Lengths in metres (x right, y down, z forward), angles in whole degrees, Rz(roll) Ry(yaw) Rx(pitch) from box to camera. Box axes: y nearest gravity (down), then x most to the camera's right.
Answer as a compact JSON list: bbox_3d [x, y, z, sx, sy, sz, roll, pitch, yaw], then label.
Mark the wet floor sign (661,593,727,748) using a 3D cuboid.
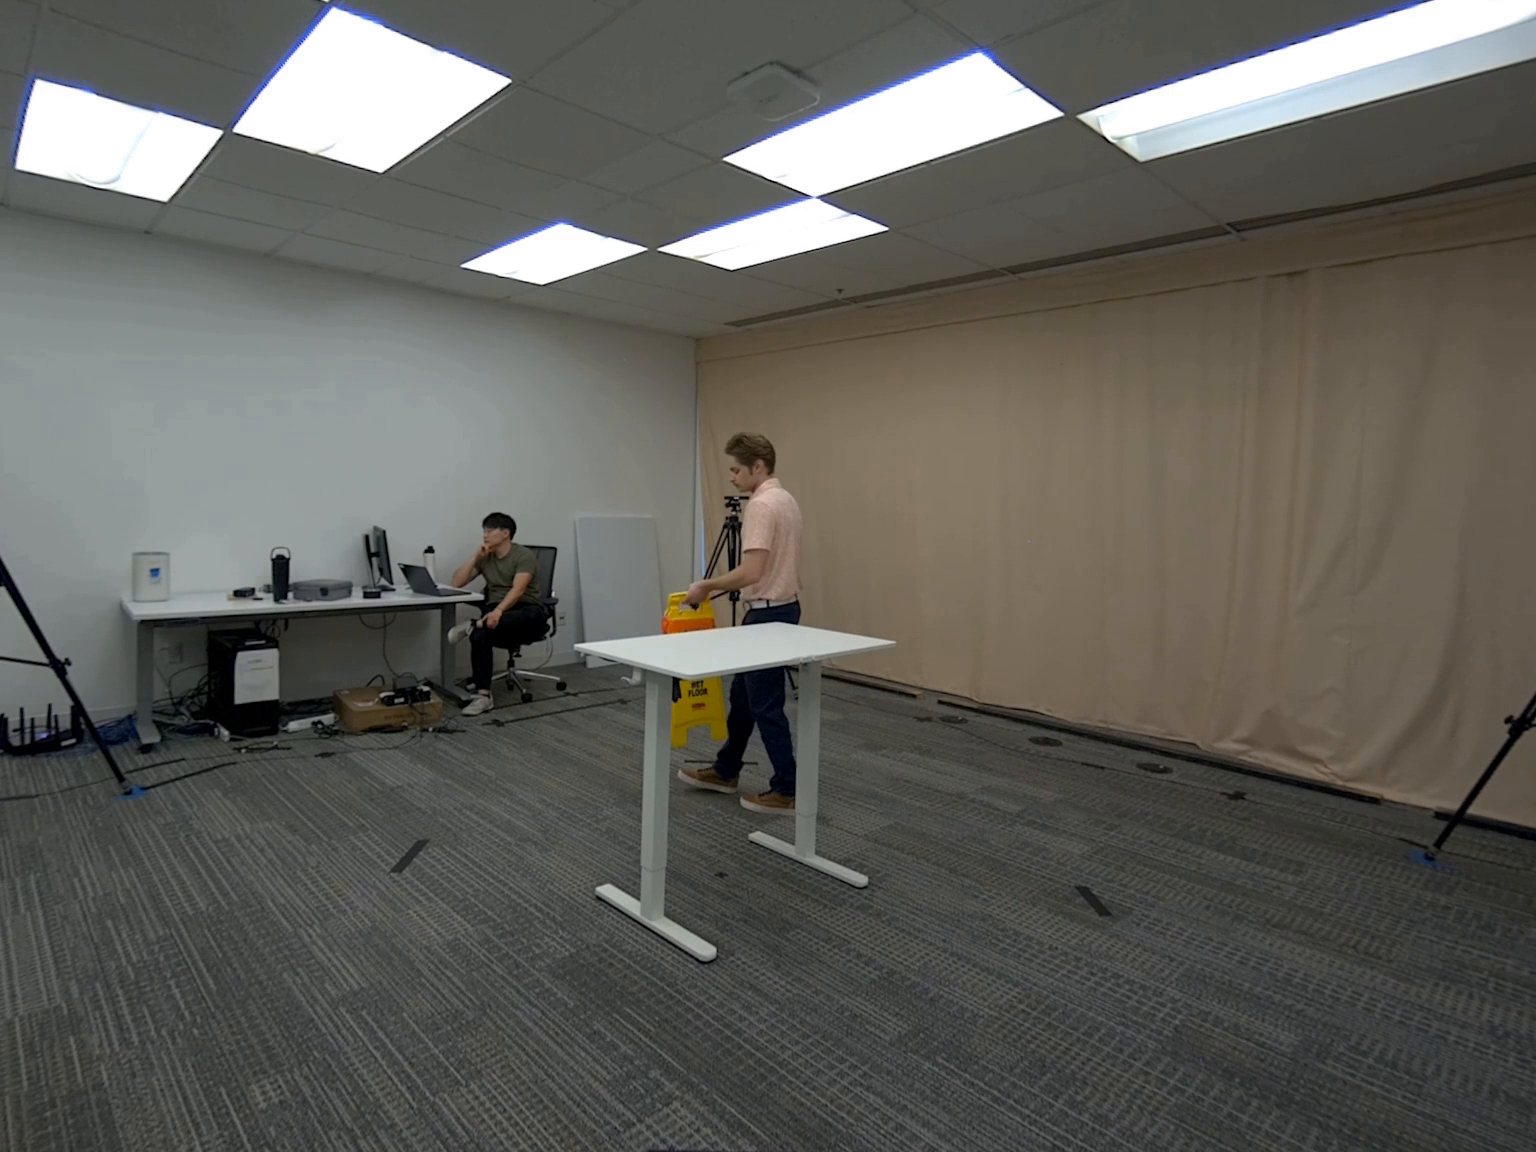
[{"bbox_3d":[-0.364,0.393,3.761,0.277,0.642,0.297,-3,9,-28],"label":"wet floor sign"}]
